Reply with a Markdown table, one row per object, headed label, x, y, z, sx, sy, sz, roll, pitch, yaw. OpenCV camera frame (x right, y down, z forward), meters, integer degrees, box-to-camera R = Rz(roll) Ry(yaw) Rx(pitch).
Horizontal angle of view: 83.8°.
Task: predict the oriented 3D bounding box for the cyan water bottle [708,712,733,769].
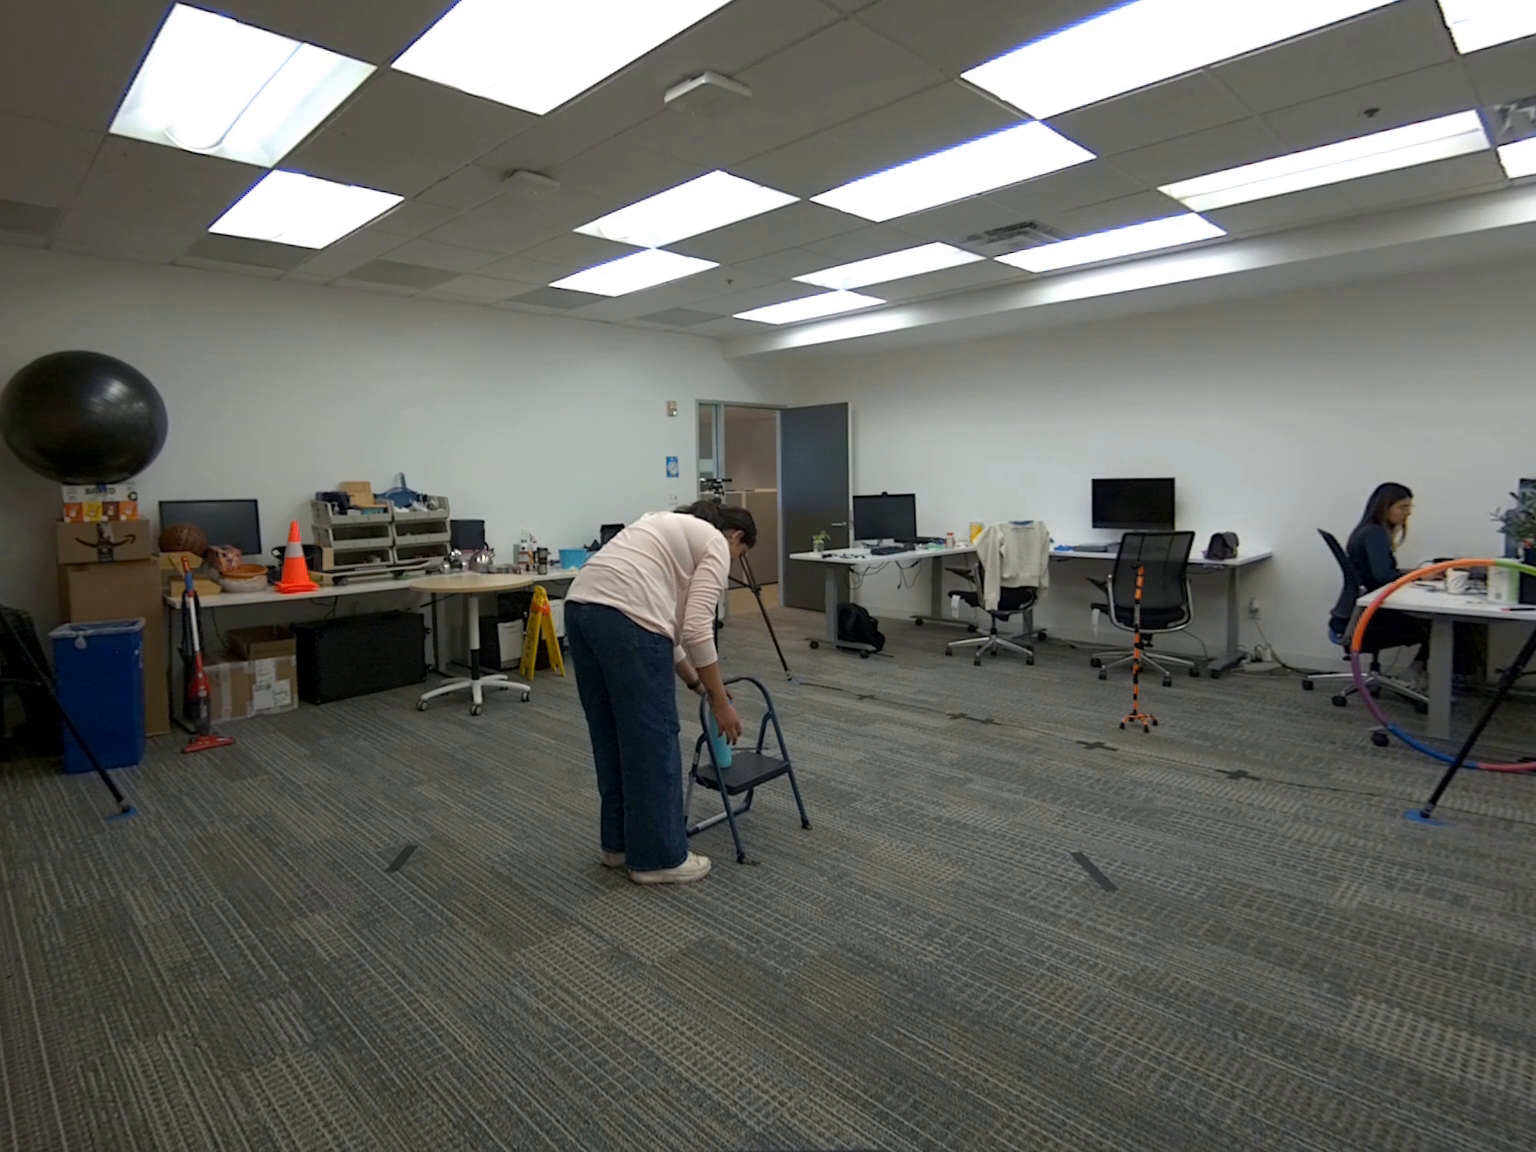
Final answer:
| label | x | y | z | sx | sy | sz | roll | pitch | yaw |
| --- | --- | --- | --- | --- | --- | --- | --- | --- | --- |
| cyan water bottle | -0.187 | 0.618 | 3.388 | 0.092 | 0.282 | 0.093 | -2 | 5 | -1 |
